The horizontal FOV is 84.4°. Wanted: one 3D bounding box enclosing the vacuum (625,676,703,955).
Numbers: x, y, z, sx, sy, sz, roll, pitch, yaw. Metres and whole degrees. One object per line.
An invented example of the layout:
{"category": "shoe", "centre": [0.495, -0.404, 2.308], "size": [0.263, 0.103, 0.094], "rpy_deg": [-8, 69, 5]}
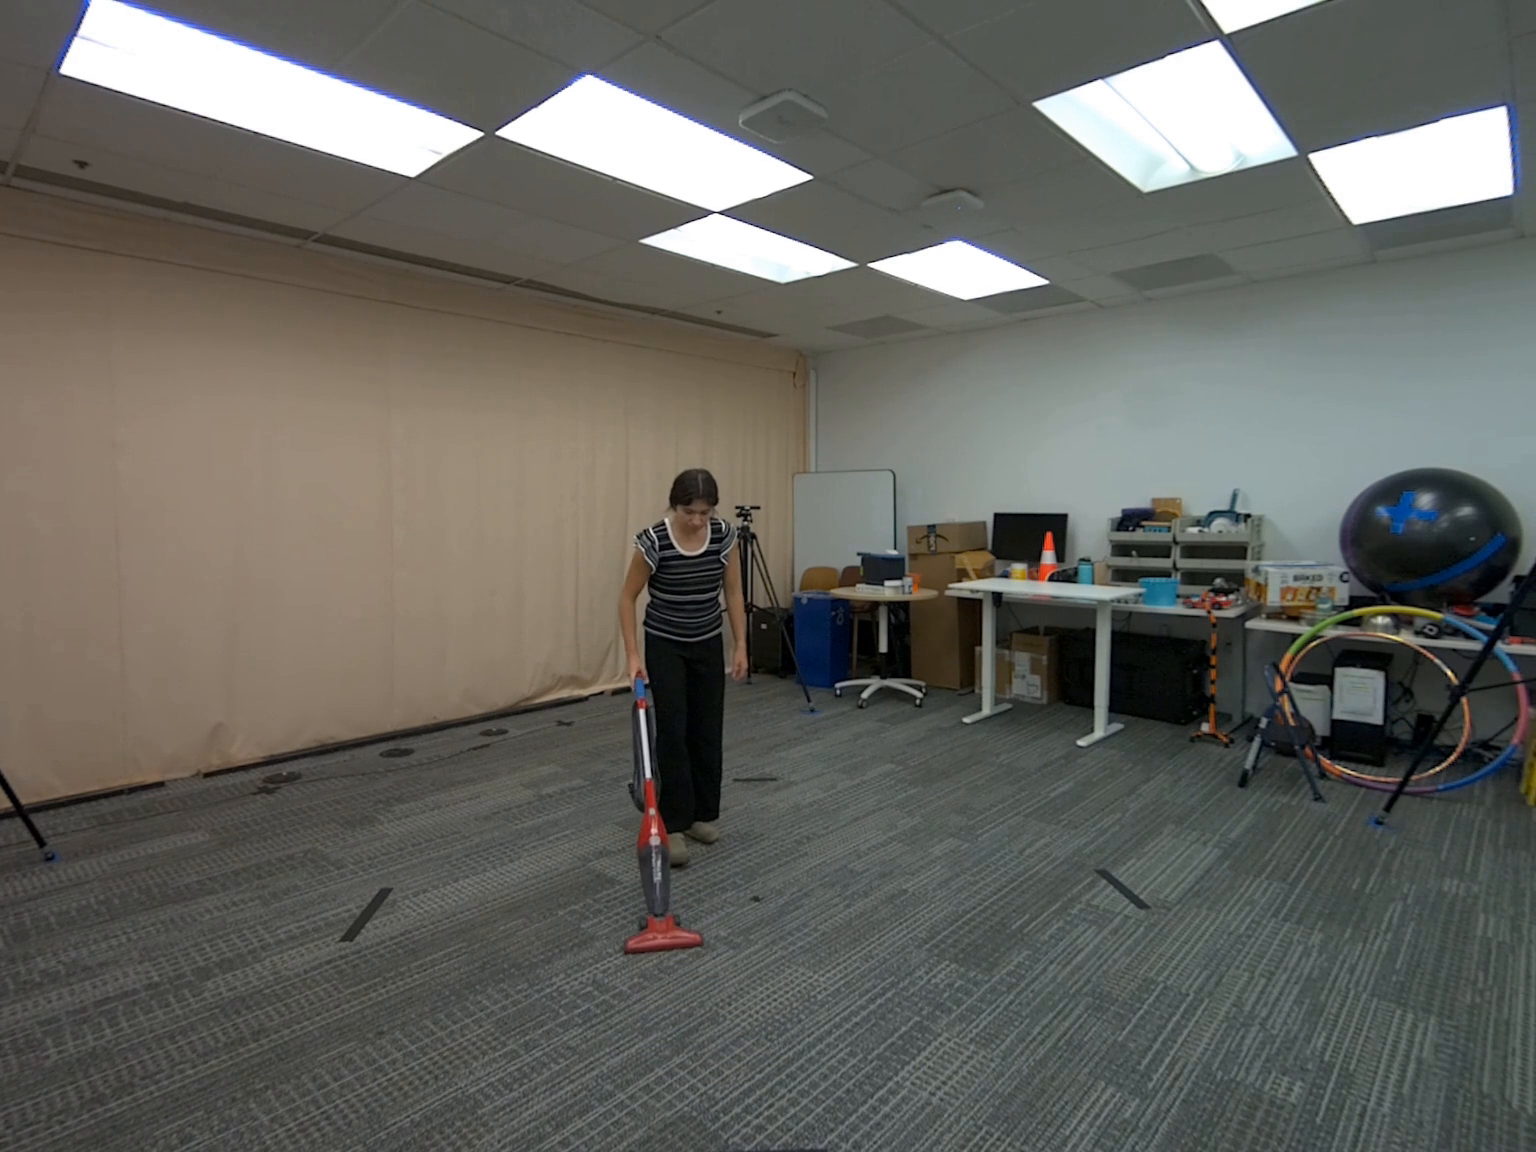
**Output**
{"category": "vacuum", "centre": [-0.433, 0.765, 3.044], "size": [0.249, 0.142, 1.076], "rpy_deg": [0, 47, -15]}
